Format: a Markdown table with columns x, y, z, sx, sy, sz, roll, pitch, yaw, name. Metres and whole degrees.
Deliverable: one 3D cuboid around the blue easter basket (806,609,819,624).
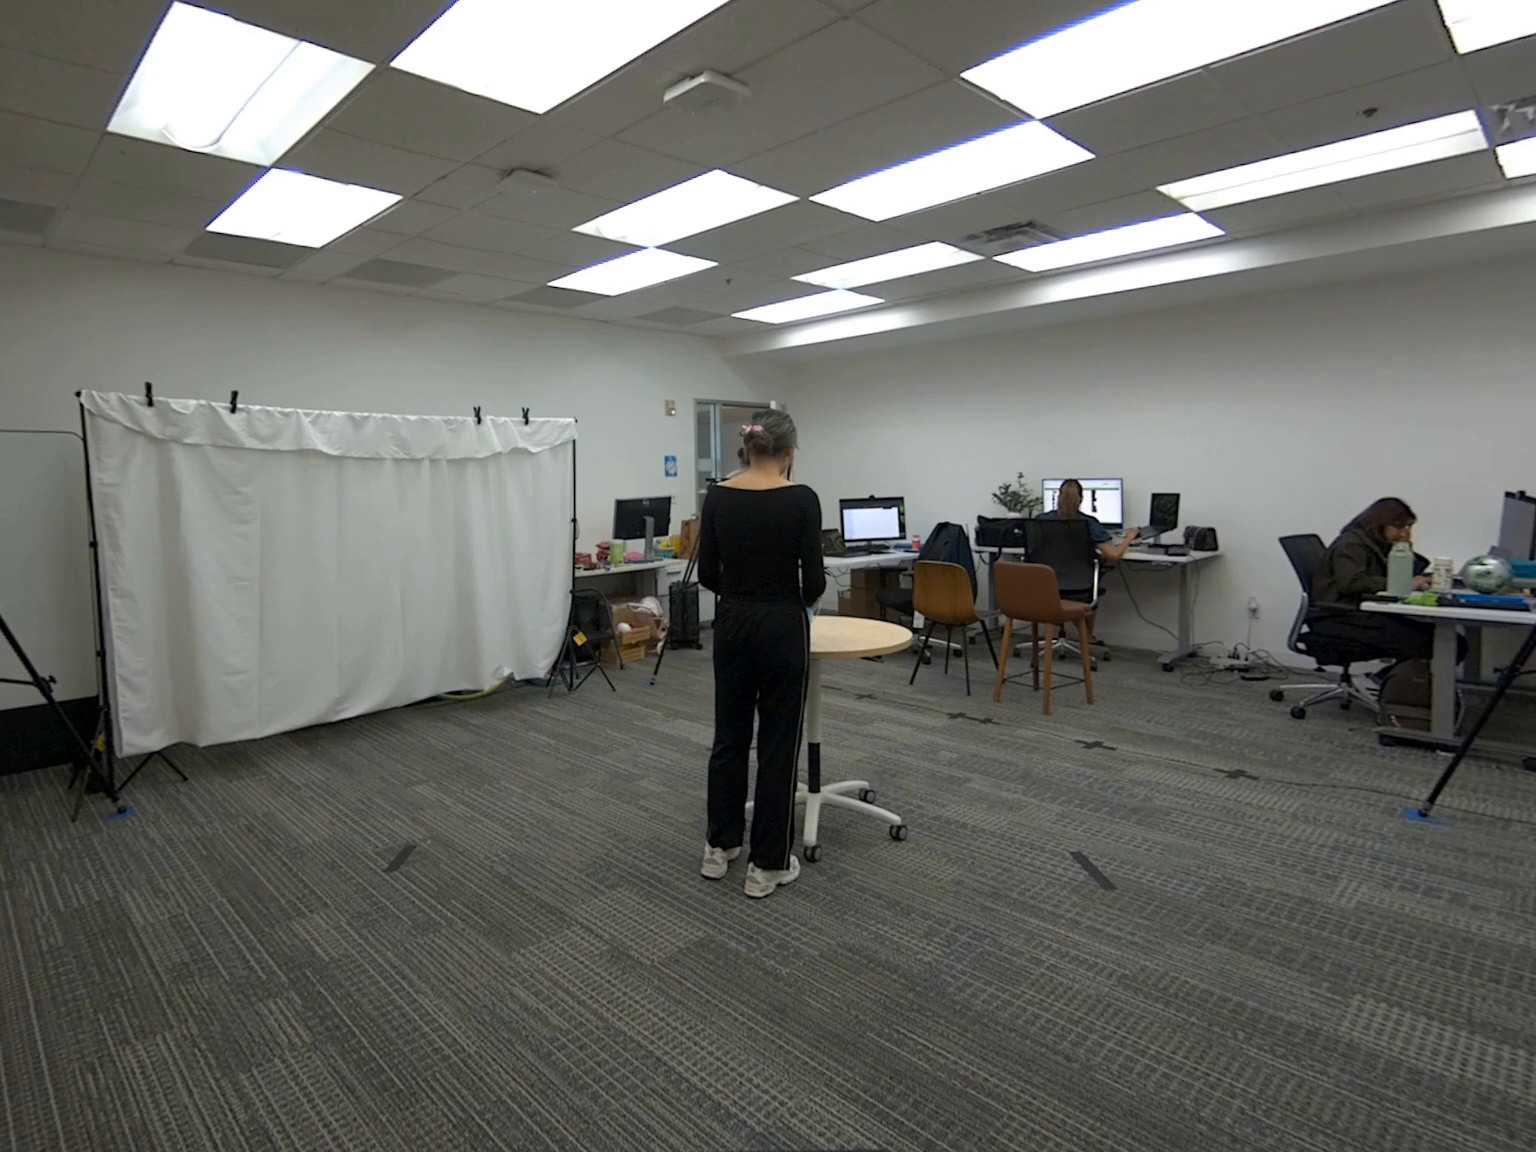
| x | y | z | sx | sy | sz | roll | pitch | yaw | name |
| --- | --- | --- | --- | --- | --- | --- | --- | --- | --- |
| 0.067 | 0.135 | 3.157 | 0.243 | 0.155 | 0.245 | -1 | 9 | -1 | blue easter basket |
